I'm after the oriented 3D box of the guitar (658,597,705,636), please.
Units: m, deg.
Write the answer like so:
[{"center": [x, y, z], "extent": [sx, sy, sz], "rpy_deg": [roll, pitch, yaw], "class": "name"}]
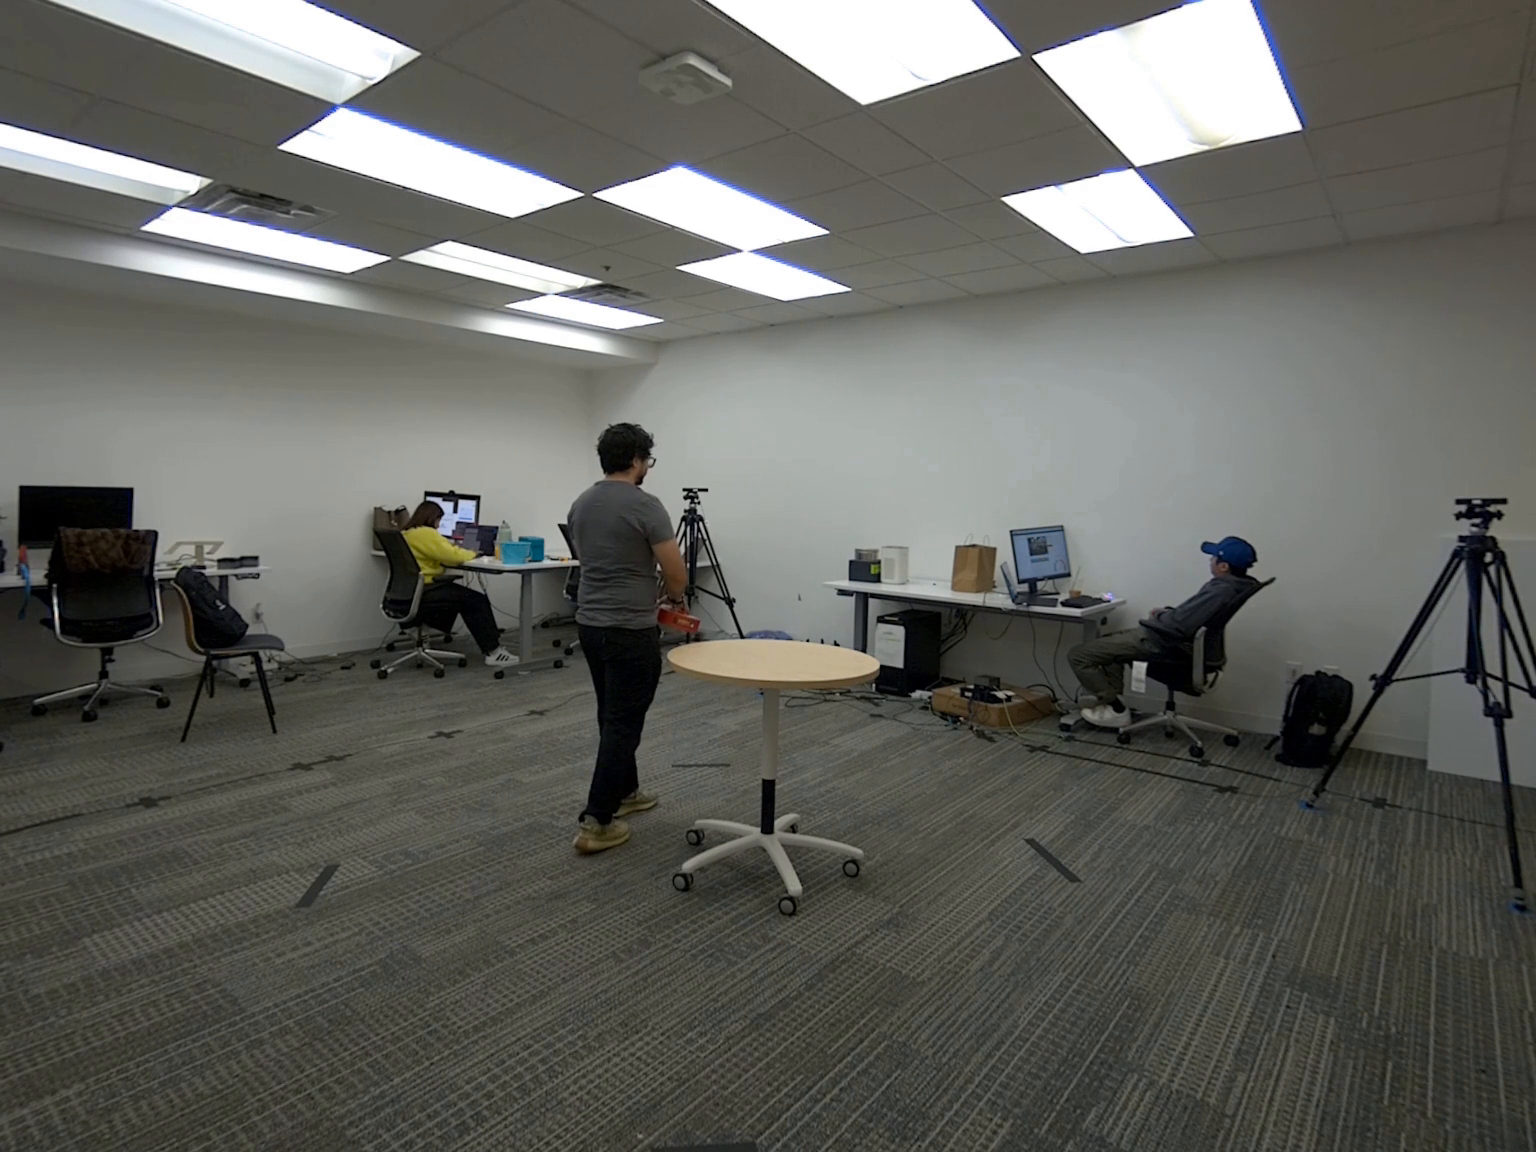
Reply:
[{"center": [-0.455, 0.151, 3.716], "extent": [0.188, 0.071, 0.510], "rpy_deg": [21, -1, -22], "class": "guitar"}]
